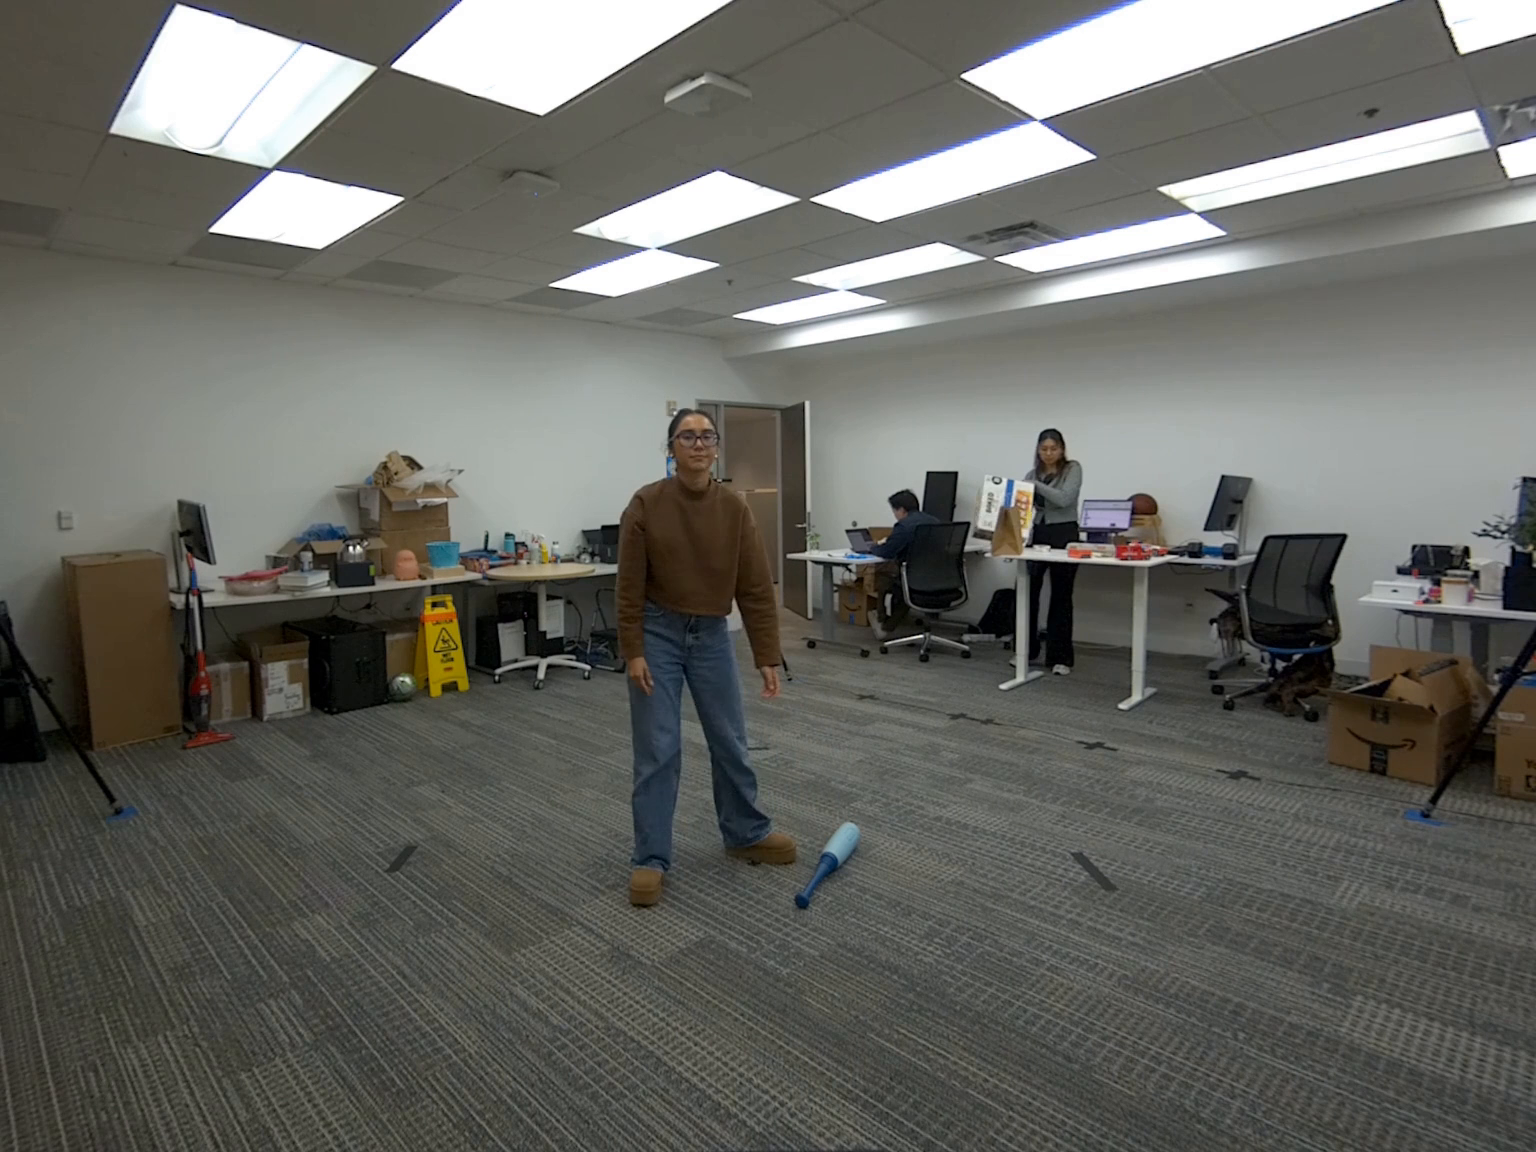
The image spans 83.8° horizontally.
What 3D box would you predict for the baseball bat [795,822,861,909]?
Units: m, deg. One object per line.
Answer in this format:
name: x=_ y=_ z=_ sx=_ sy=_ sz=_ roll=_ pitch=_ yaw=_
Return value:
baseball bat: x=0.210 y=1.010 z=3.002 sx=0.091 sy=0.088 sz=0.535 roll=1 pitch=9 yaw=23
